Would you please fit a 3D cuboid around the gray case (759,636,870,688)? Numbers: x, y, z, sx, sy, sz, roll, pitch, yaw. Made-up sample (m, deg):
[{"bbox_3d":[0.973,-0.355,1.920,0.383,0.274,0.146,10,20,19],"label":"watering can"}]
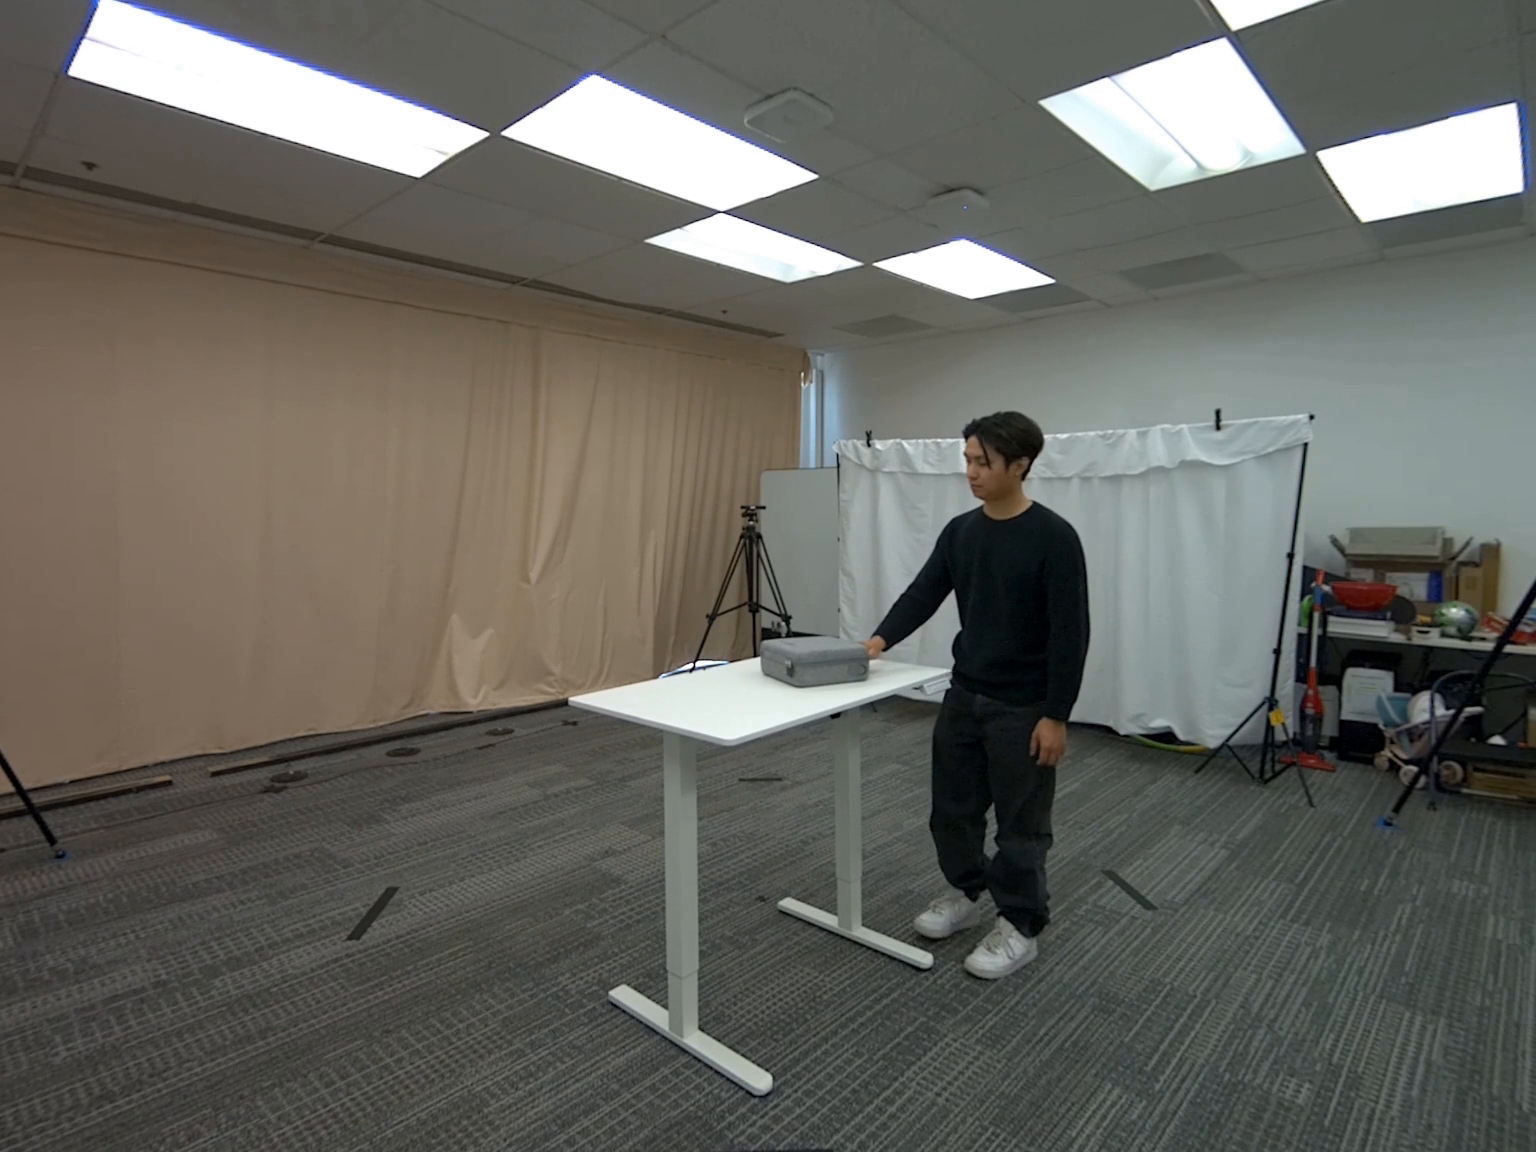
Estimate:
[{"bbox_3d":[0.136,0.249,2.495,0.256,0.104,0.262,-2,4,-20],"label":"gray case"}]
